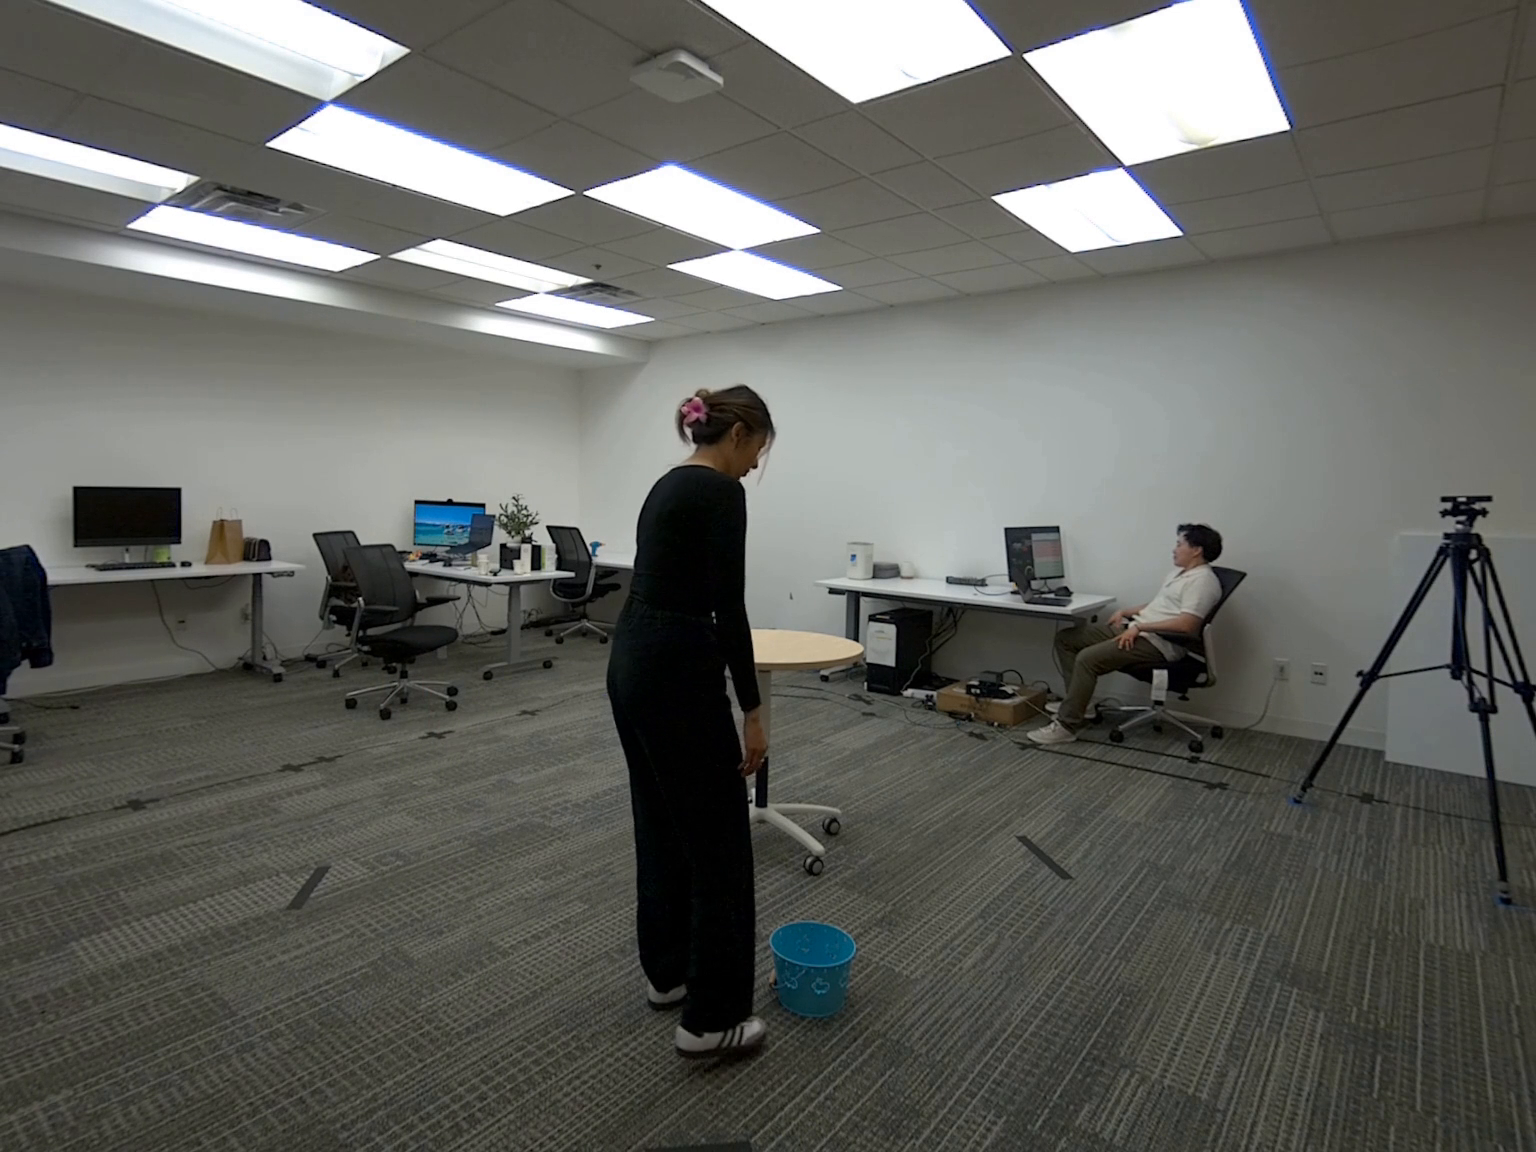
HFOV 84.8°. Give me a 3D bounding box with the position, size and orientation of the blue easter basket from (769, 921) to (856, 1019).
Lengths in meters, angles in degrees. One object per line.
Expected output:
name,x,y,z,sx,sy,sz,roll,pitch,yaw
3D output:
blue easter basket,0.111,1.081,2.325,0.243,0.155,0.245,1,6,-2
